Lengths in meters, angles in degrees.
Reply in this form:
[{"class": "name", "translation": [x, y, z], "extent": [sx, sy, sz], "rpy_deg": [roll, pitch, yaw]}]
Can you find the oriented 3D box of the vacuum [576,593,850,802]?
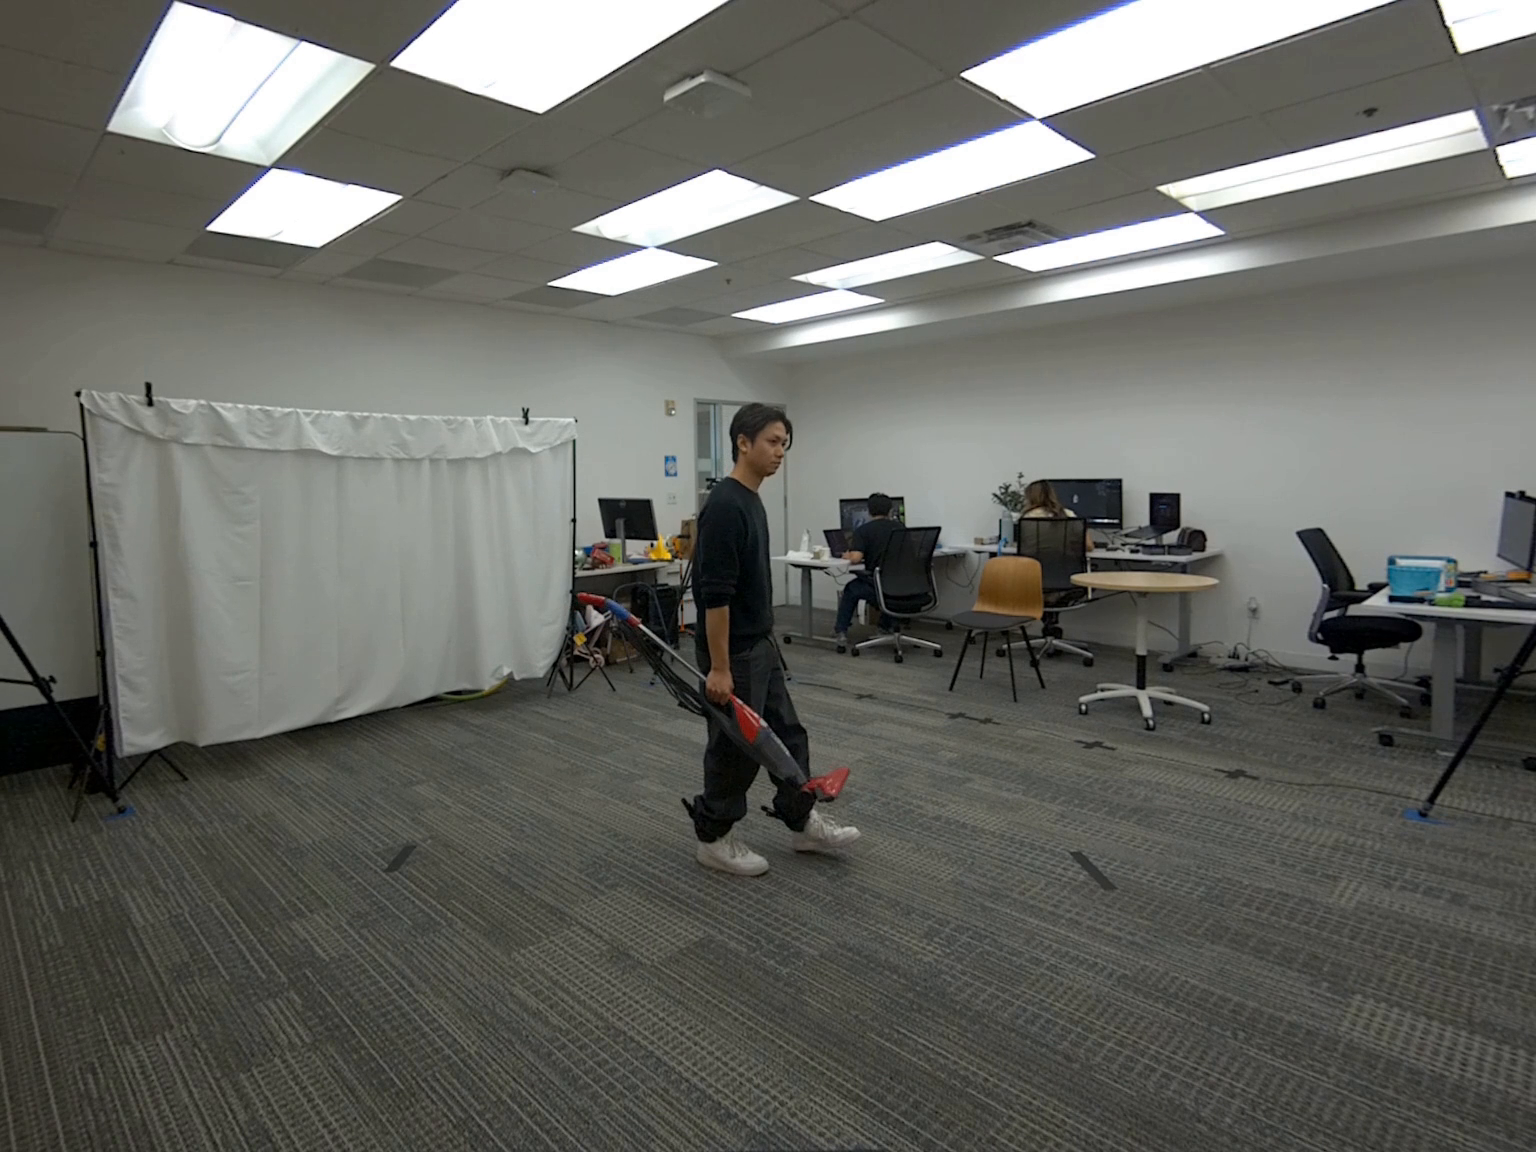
[{"class": "vacuum", "translation": [-0.220, 0.385, 2.865], "extent": [1.066, 0.143, 0.249], "rpy_deg": [37, 15, 11]}]
